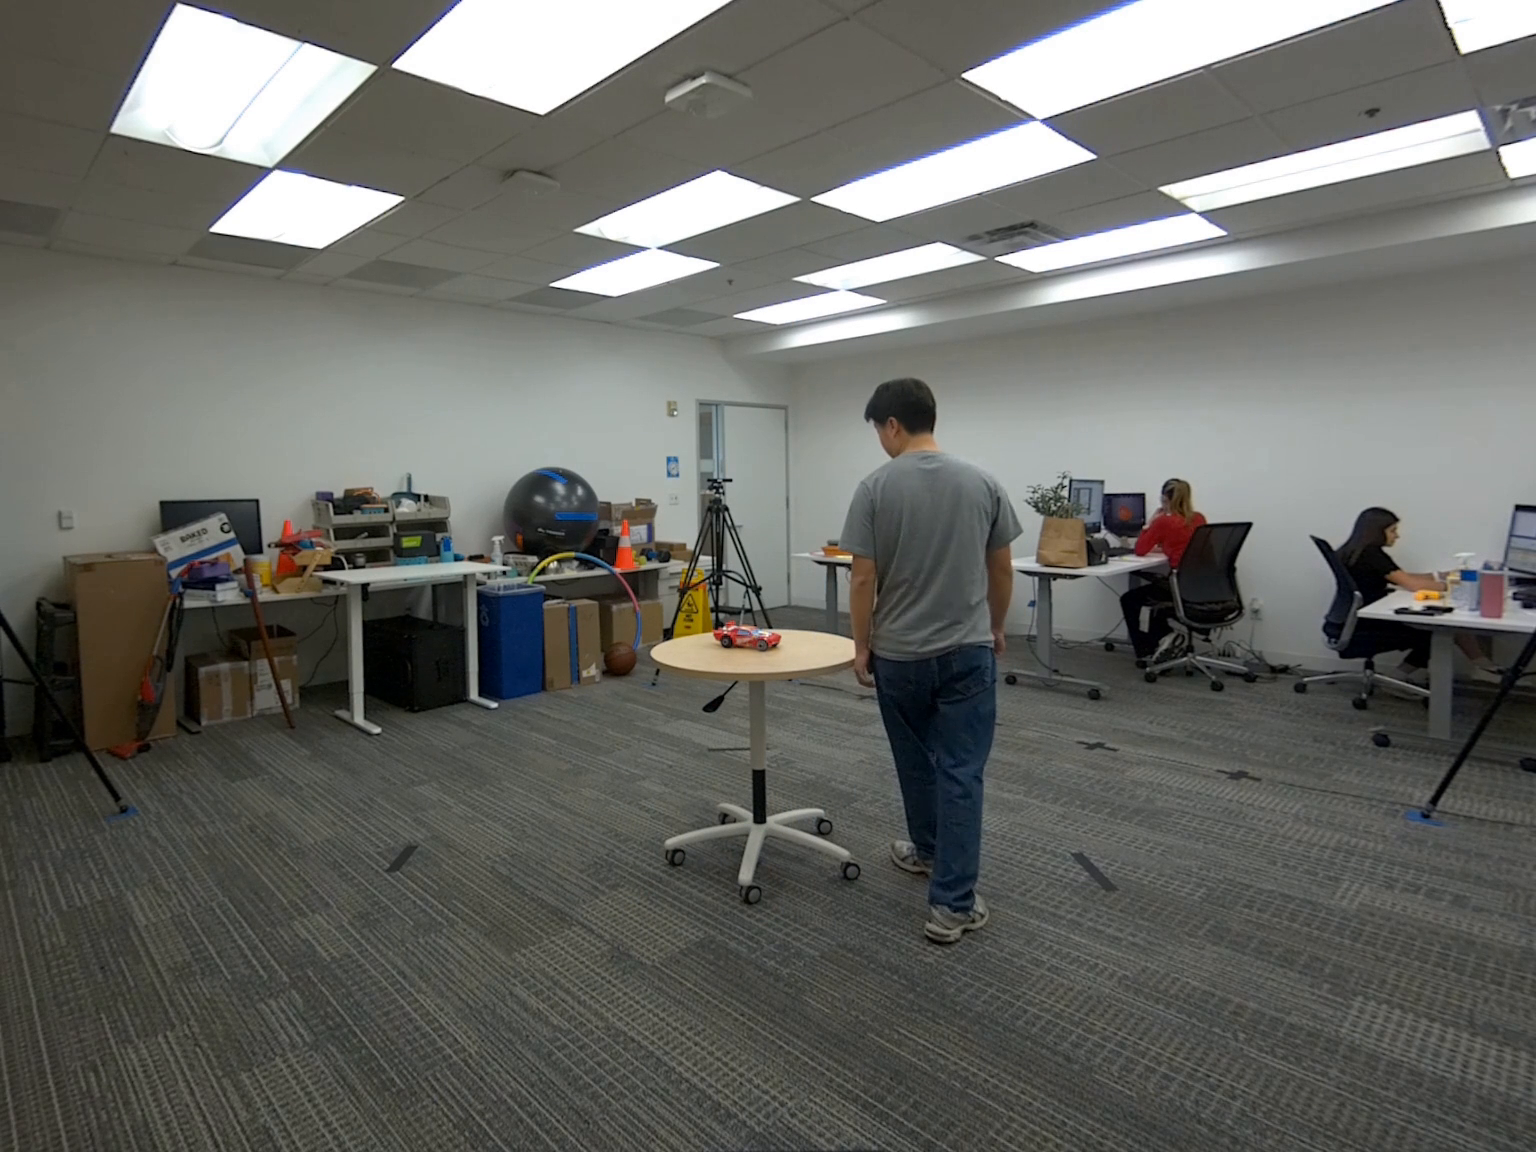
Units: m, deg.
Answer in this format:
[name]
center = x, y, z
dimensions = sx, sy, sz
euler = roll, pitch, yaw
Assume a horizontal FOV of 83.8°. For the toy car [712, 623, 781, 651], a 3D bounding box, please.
[toy car]
center = -0.079, 0.227, 3.133
dimensions = 0.262, 0.082, 0.127
euler = 14, 13, 28
